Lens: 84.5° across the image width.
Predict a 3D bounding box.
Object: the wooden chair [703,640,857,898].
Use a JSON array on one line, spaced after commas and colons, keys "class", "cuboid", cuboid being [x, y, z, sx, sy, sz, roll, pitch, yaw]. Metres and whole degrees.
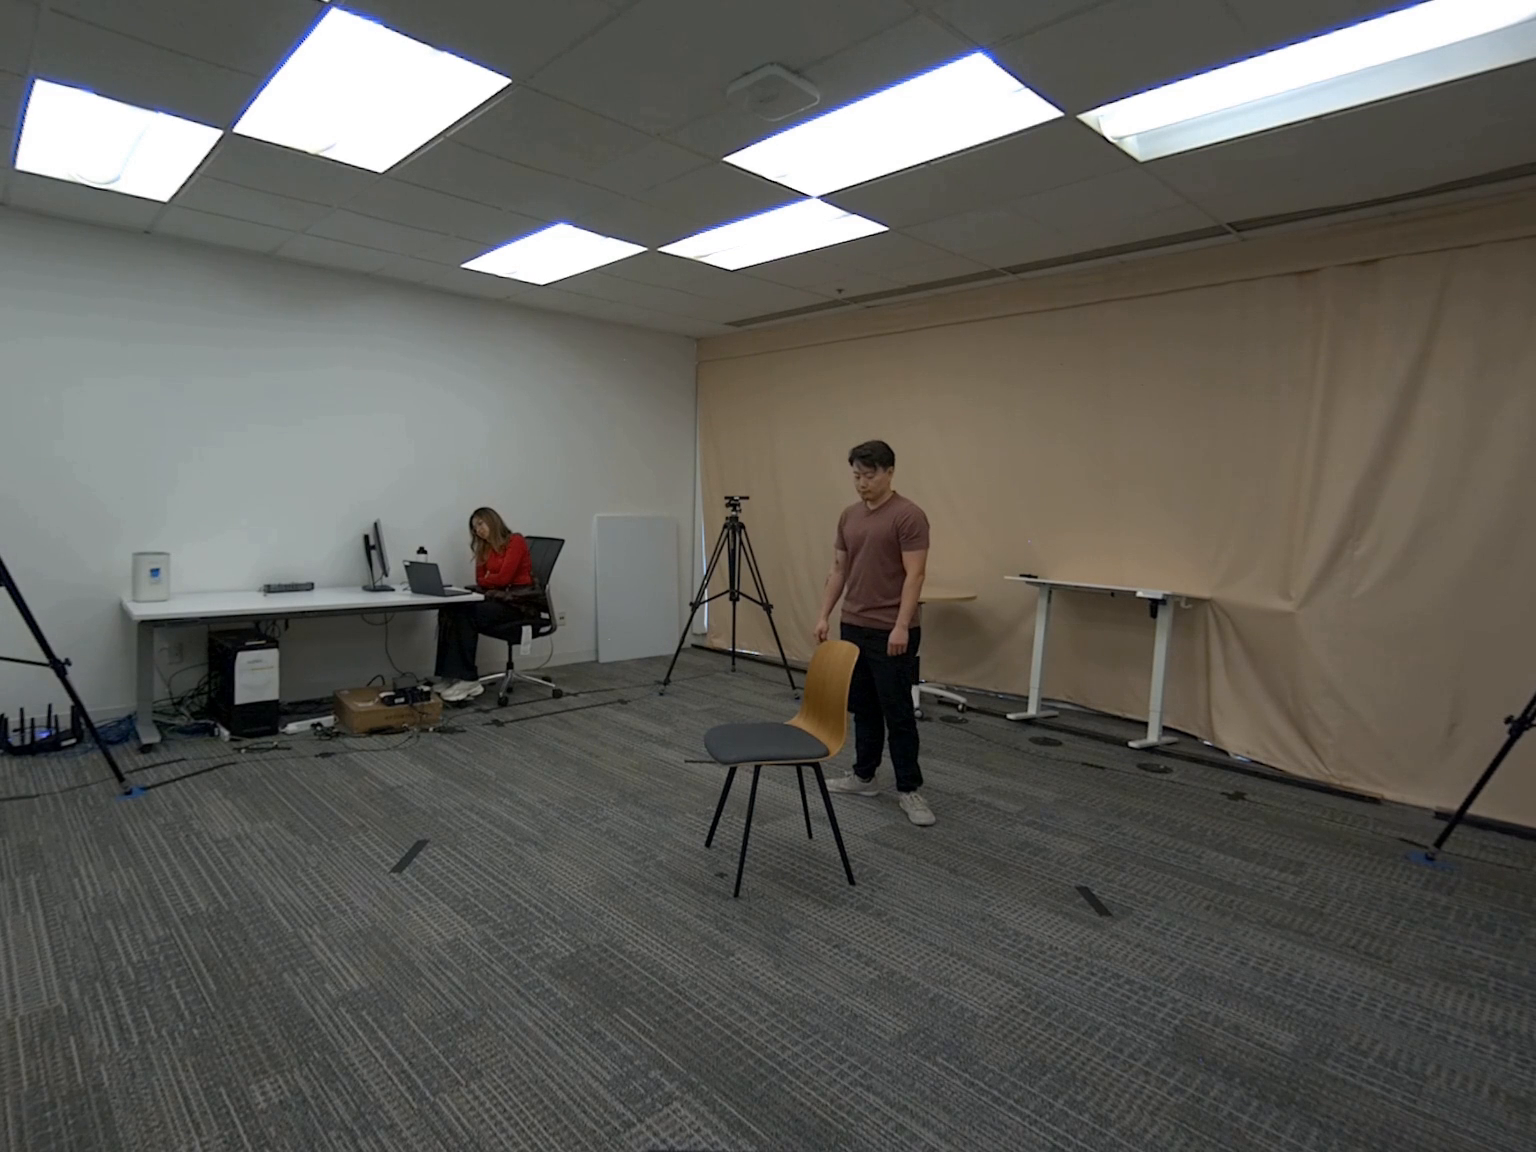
[{"class": "wooden chair", "cuboid": [0.033, 0.676, 3.166, 0.516, 0.876, 0.485, 5, 2, -17]}]
